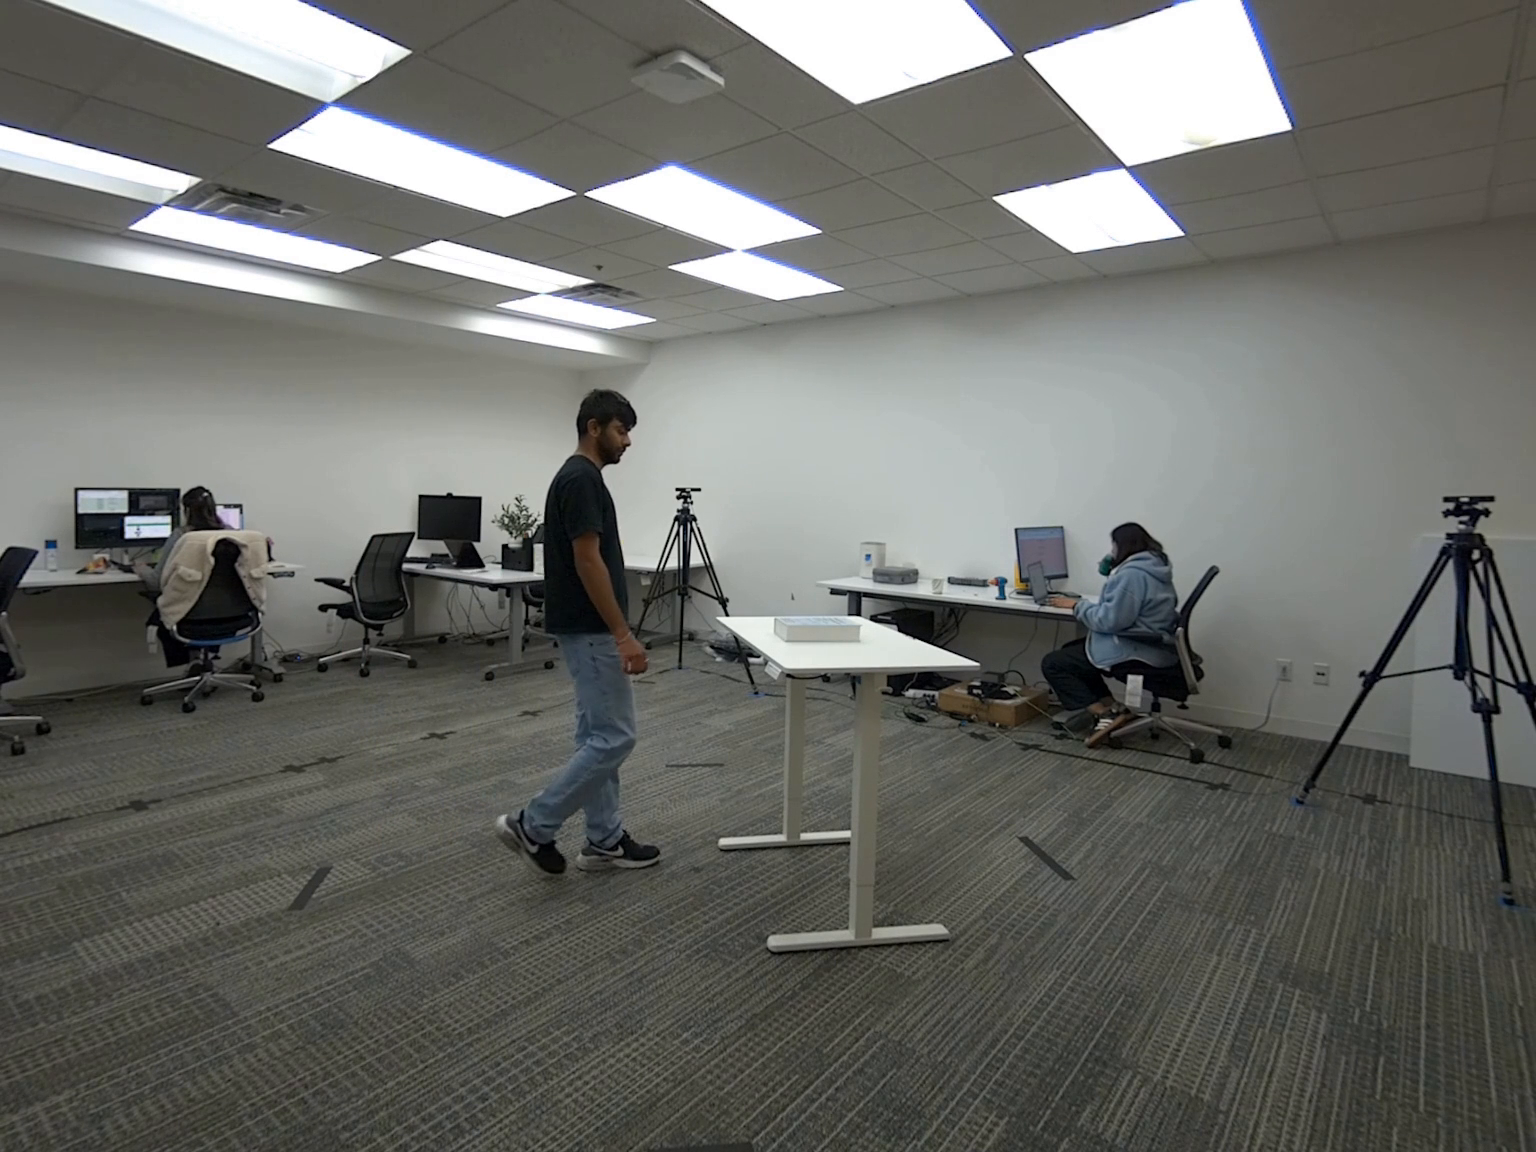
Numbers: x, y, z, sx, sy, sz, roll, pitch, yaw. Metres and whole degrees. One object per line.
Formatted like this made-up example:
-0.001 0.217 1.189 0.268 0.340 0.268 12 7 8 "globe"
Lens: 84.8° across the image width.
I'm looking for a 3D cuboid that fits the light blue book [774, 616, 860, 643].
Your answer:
0.162 0.186 2.928 0.258 0.059 0.194 1 6 -10 "light blue book"
